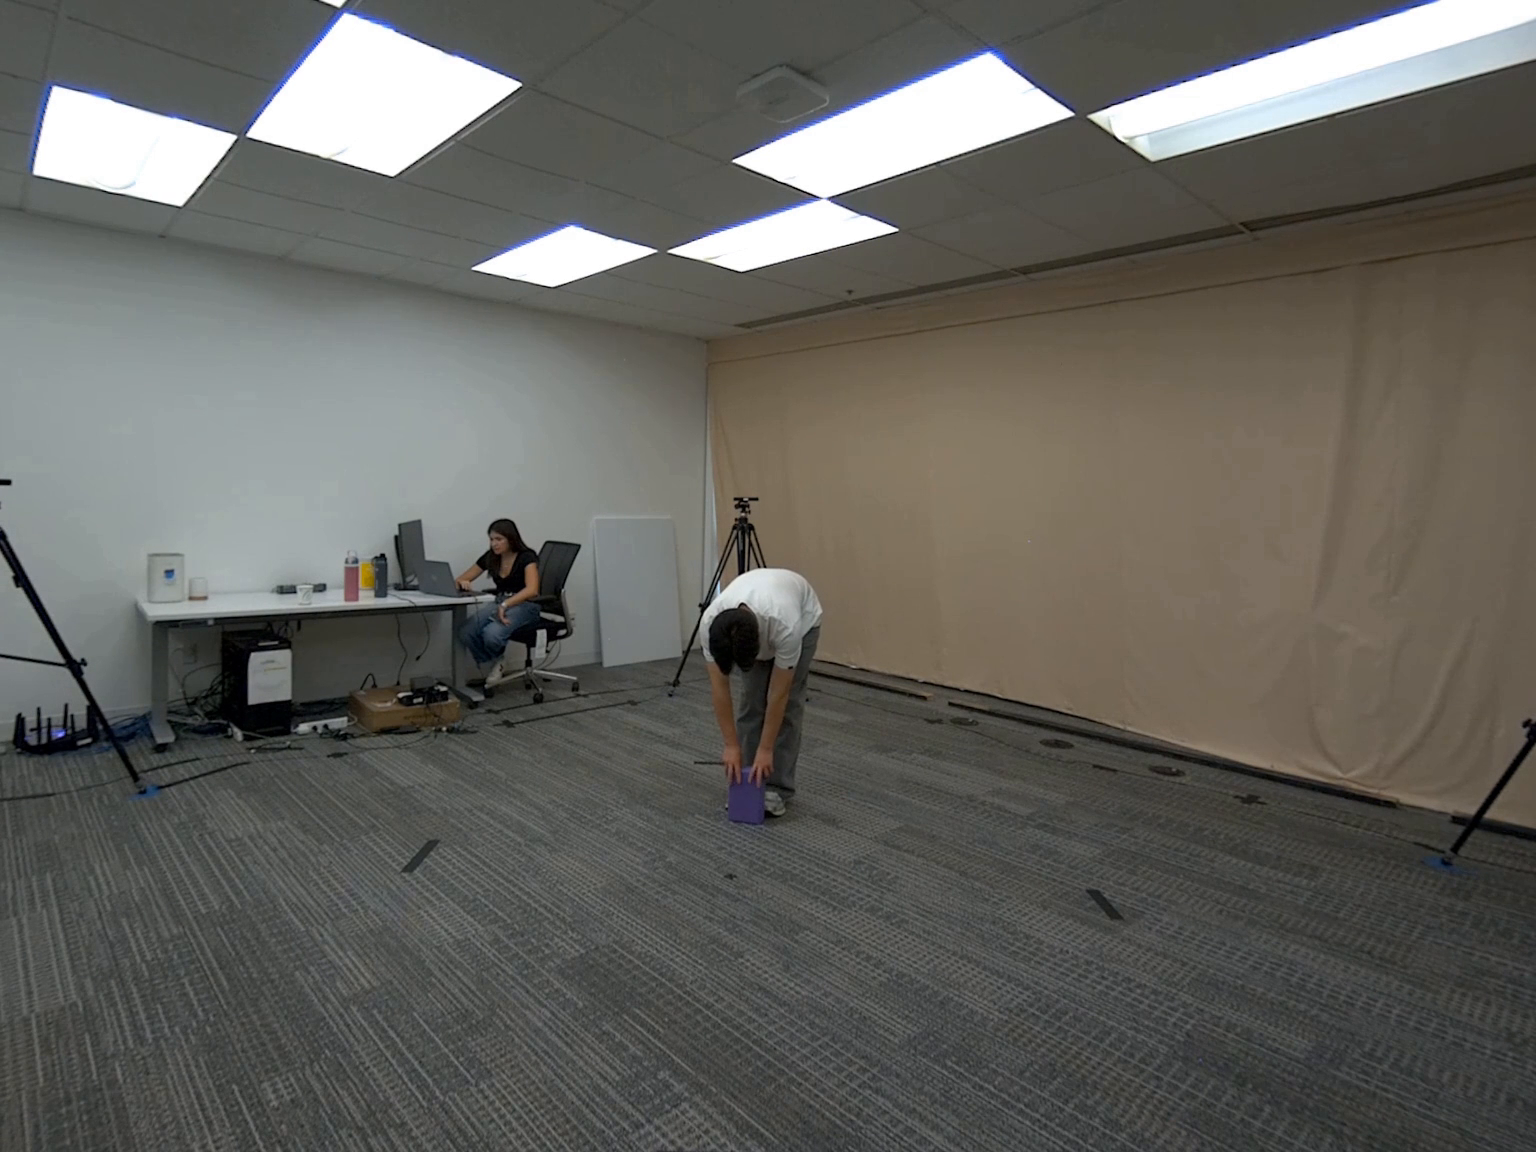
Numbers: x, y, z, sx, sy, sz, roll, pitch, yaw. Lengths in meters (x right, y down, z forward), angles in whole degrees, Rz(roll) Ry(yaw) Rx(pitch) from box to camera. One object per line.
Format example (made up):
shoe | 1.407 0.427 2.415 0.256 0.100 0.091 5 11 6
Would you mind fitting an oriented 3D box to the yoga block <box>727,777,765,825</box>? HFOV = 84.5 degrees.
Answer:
yoga block | -0.113 0.957 3.645 0.150 0.229 0.076 2 4 13
